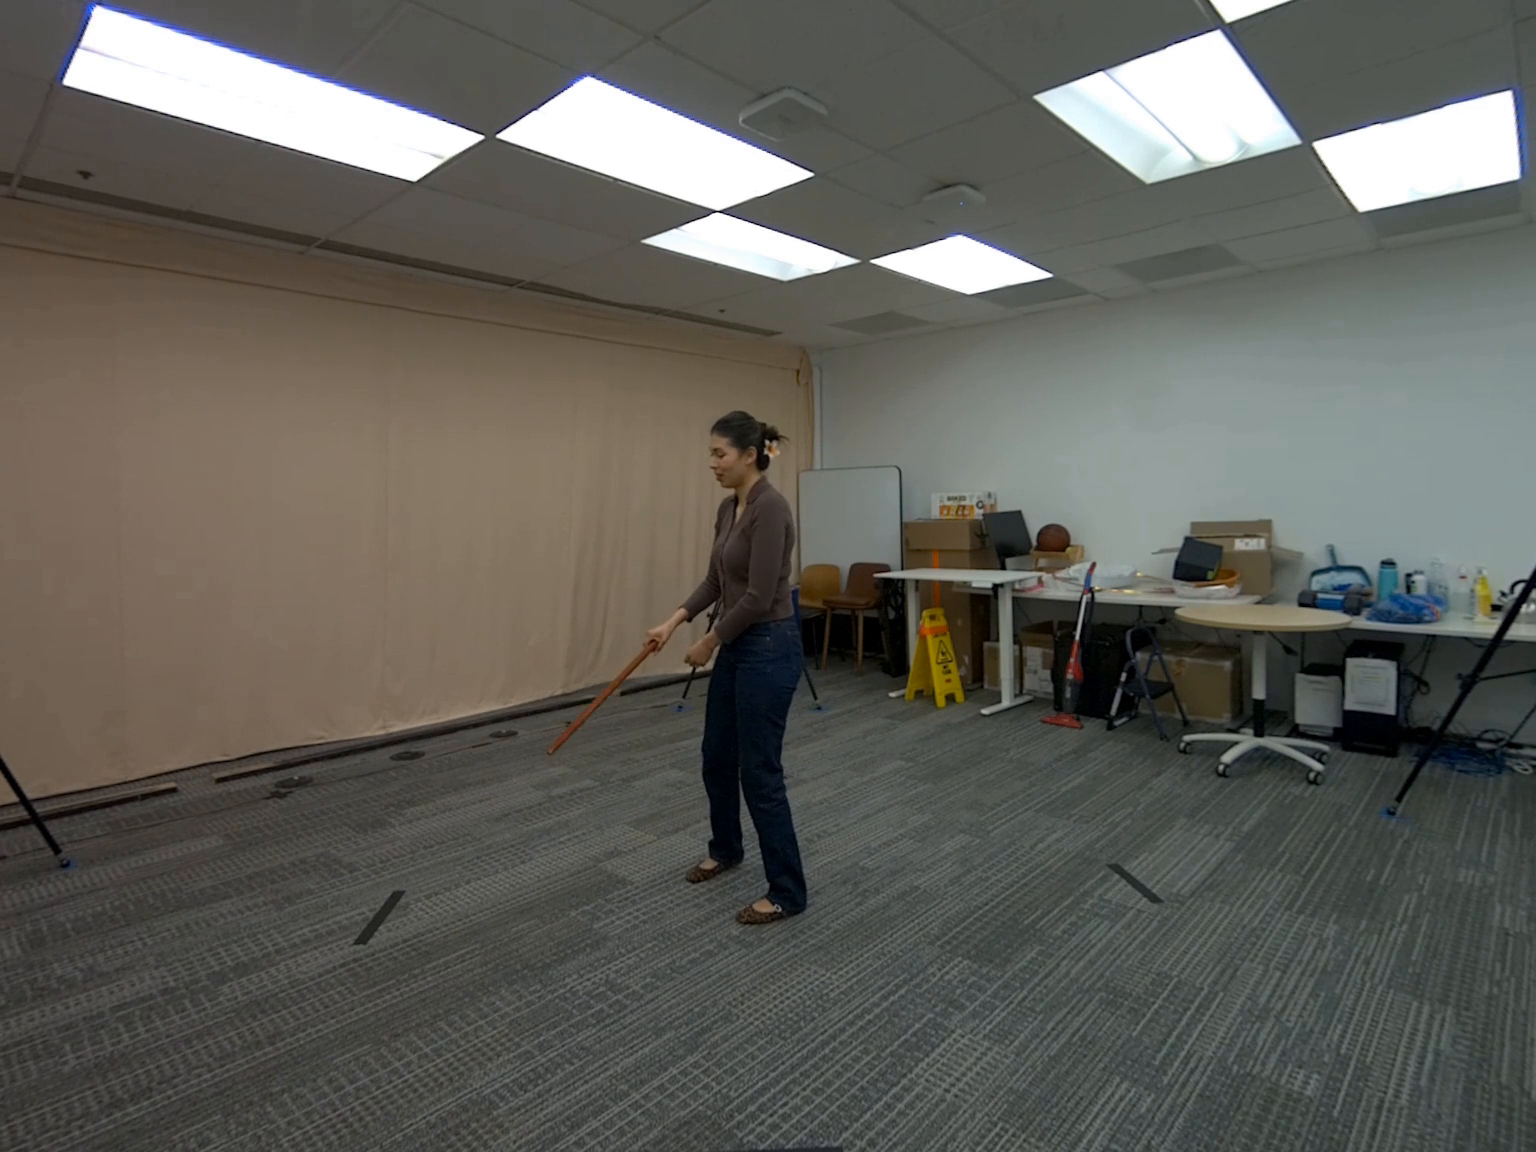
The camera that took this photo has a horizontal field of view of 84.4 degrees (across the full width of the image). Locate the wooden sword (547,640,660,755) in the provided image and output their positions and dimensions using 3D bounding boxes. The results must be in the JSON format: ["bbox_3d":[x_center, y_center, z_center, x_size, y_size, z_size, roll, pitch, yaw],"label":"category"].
[{"bbox_3d":[-0.477,0.339,2.616,0.024,0.051,1.020,-16,13,17],"label":"wooden sword"}]
